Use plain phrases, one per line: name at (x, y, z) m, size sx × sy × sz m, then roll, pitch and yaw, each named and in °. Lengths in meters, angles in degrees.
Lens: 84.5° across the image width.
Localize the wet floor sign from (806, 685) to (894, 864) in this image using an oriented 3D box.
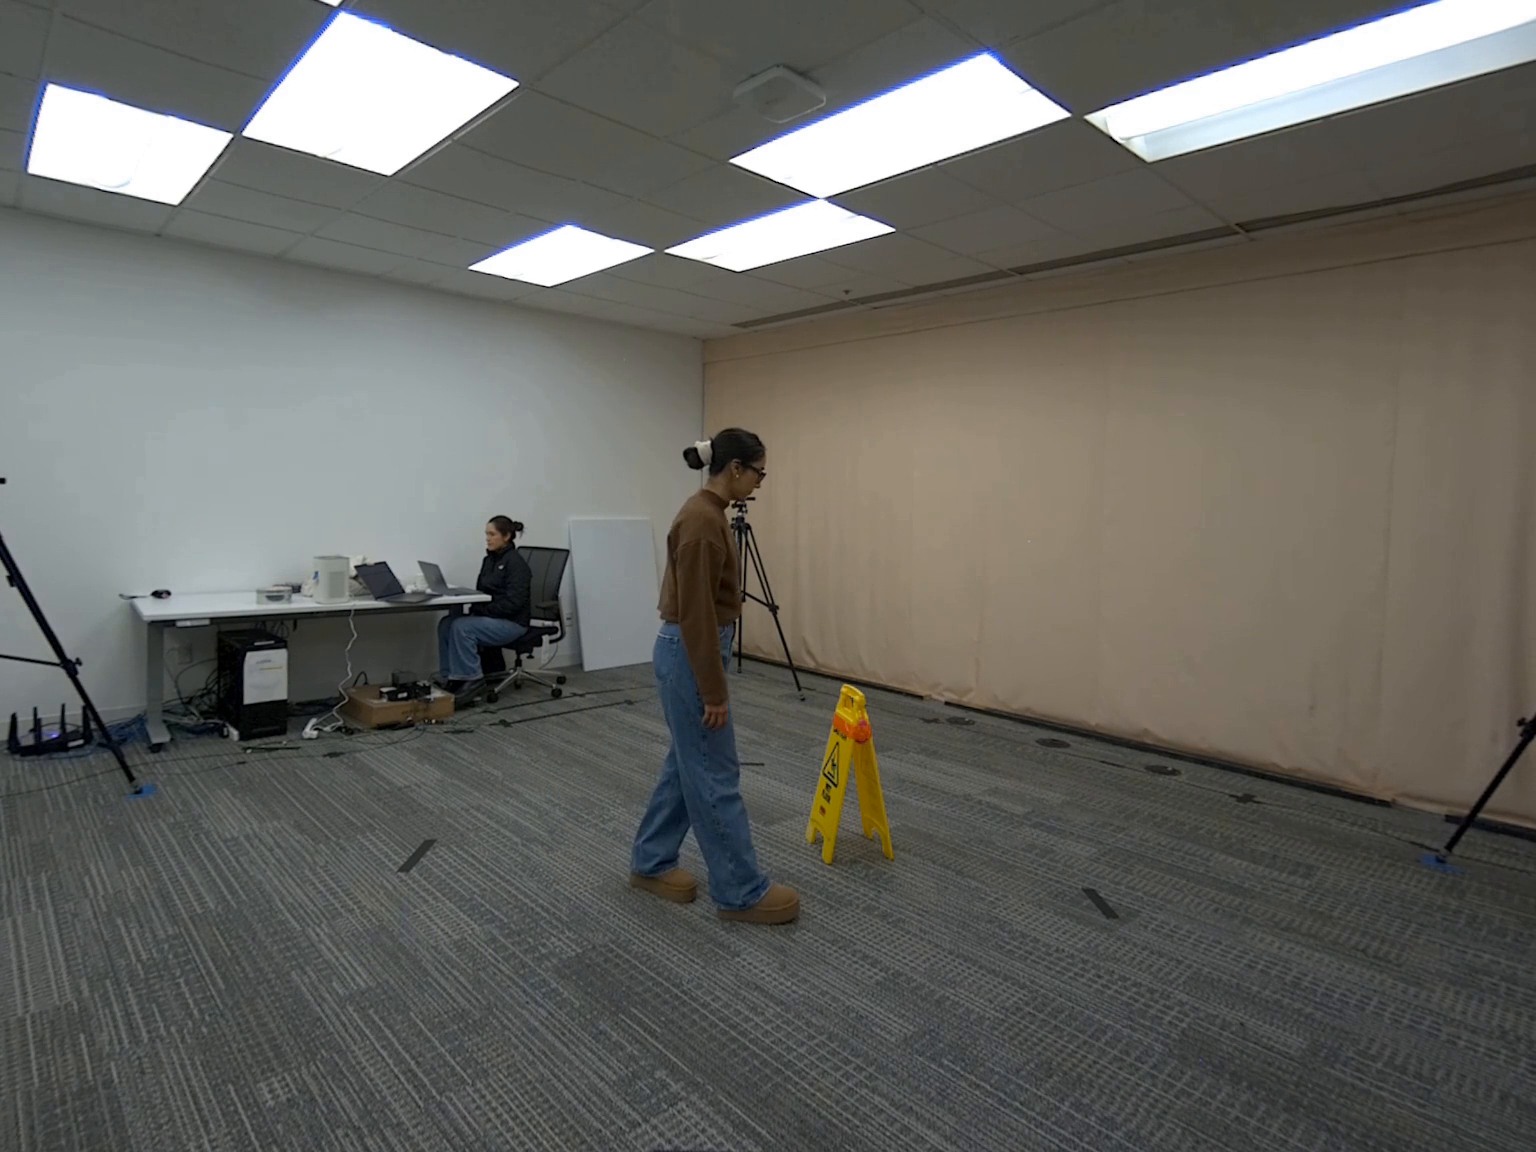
wet floor sign at (0.325, 0.770, 3.360) m, size 0.286 × 0.644 × 0.286 m, roll 1°, pitch 4°, yaw -14°
